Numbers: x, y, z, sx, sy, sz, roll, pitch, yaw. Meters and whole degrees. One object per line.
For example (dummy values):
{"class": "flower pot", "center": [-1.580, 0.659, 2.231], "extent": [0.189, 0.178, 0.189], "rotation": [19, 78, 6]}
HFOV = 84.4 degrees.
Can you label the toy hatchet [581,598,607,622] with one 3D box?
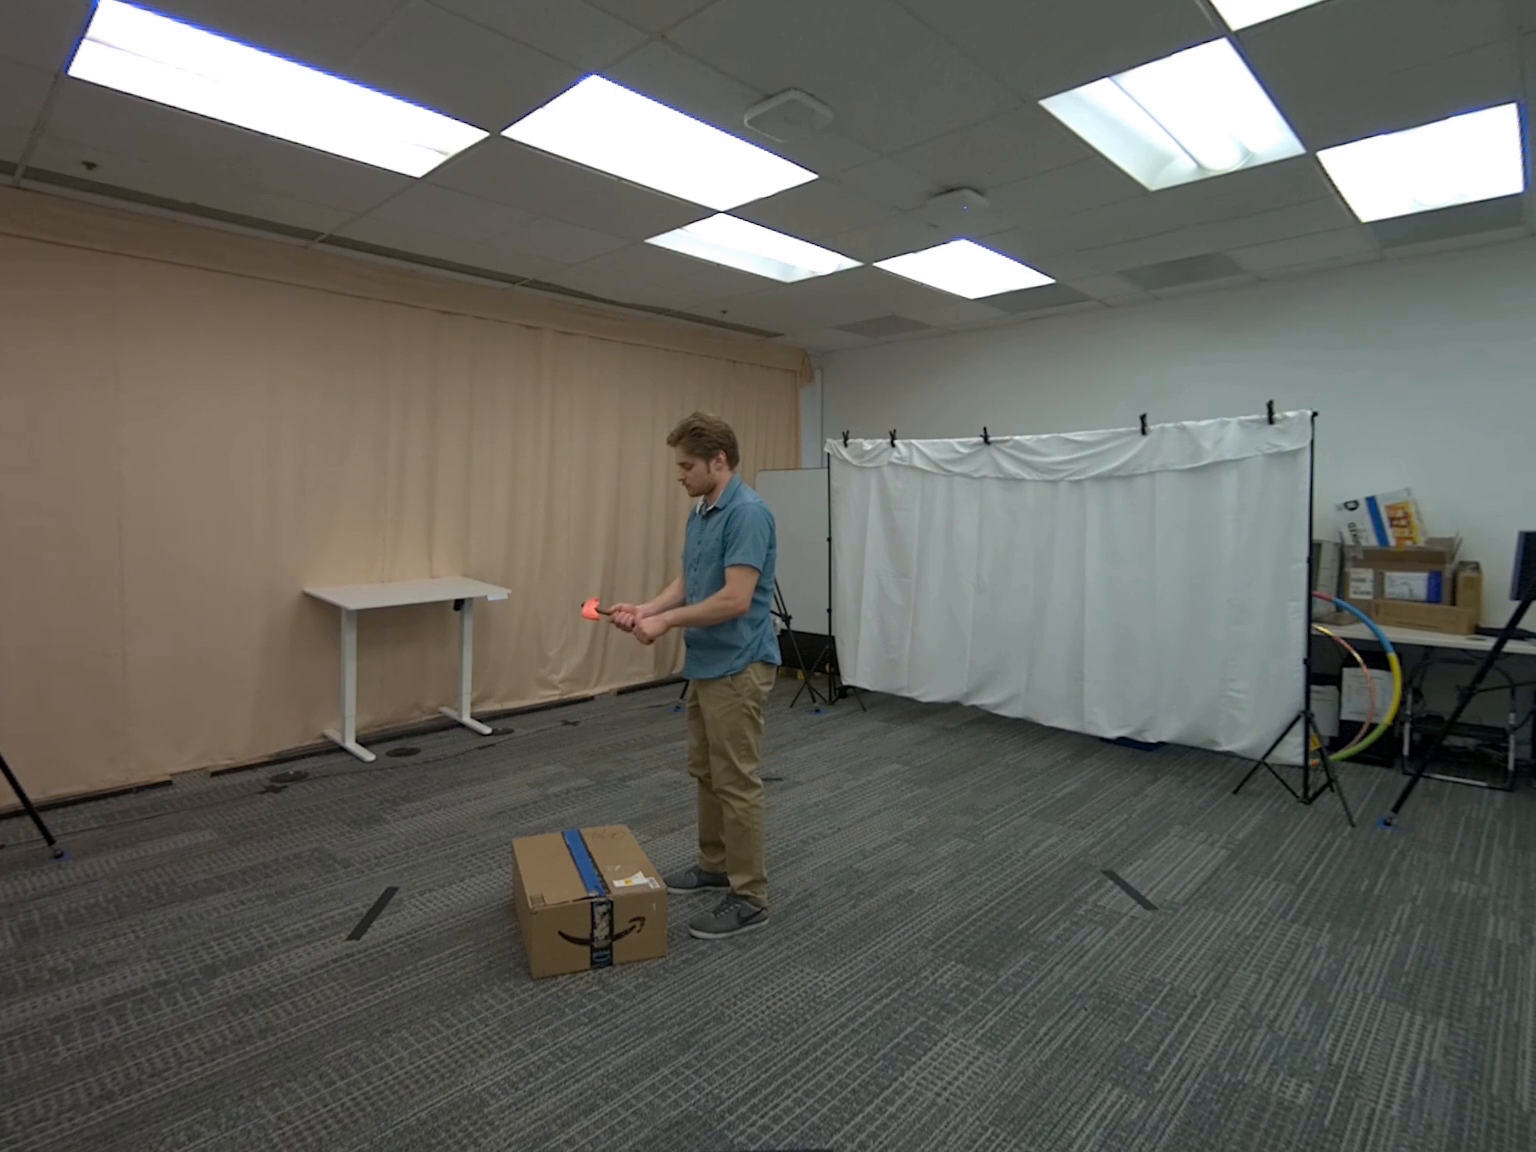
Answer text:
{"class": "toy hatchet", "center": [-0.501, 0.149, 2.771], "extent": [0.276, 0.029, 0.129], "rotation": [29, 27, 18]}
